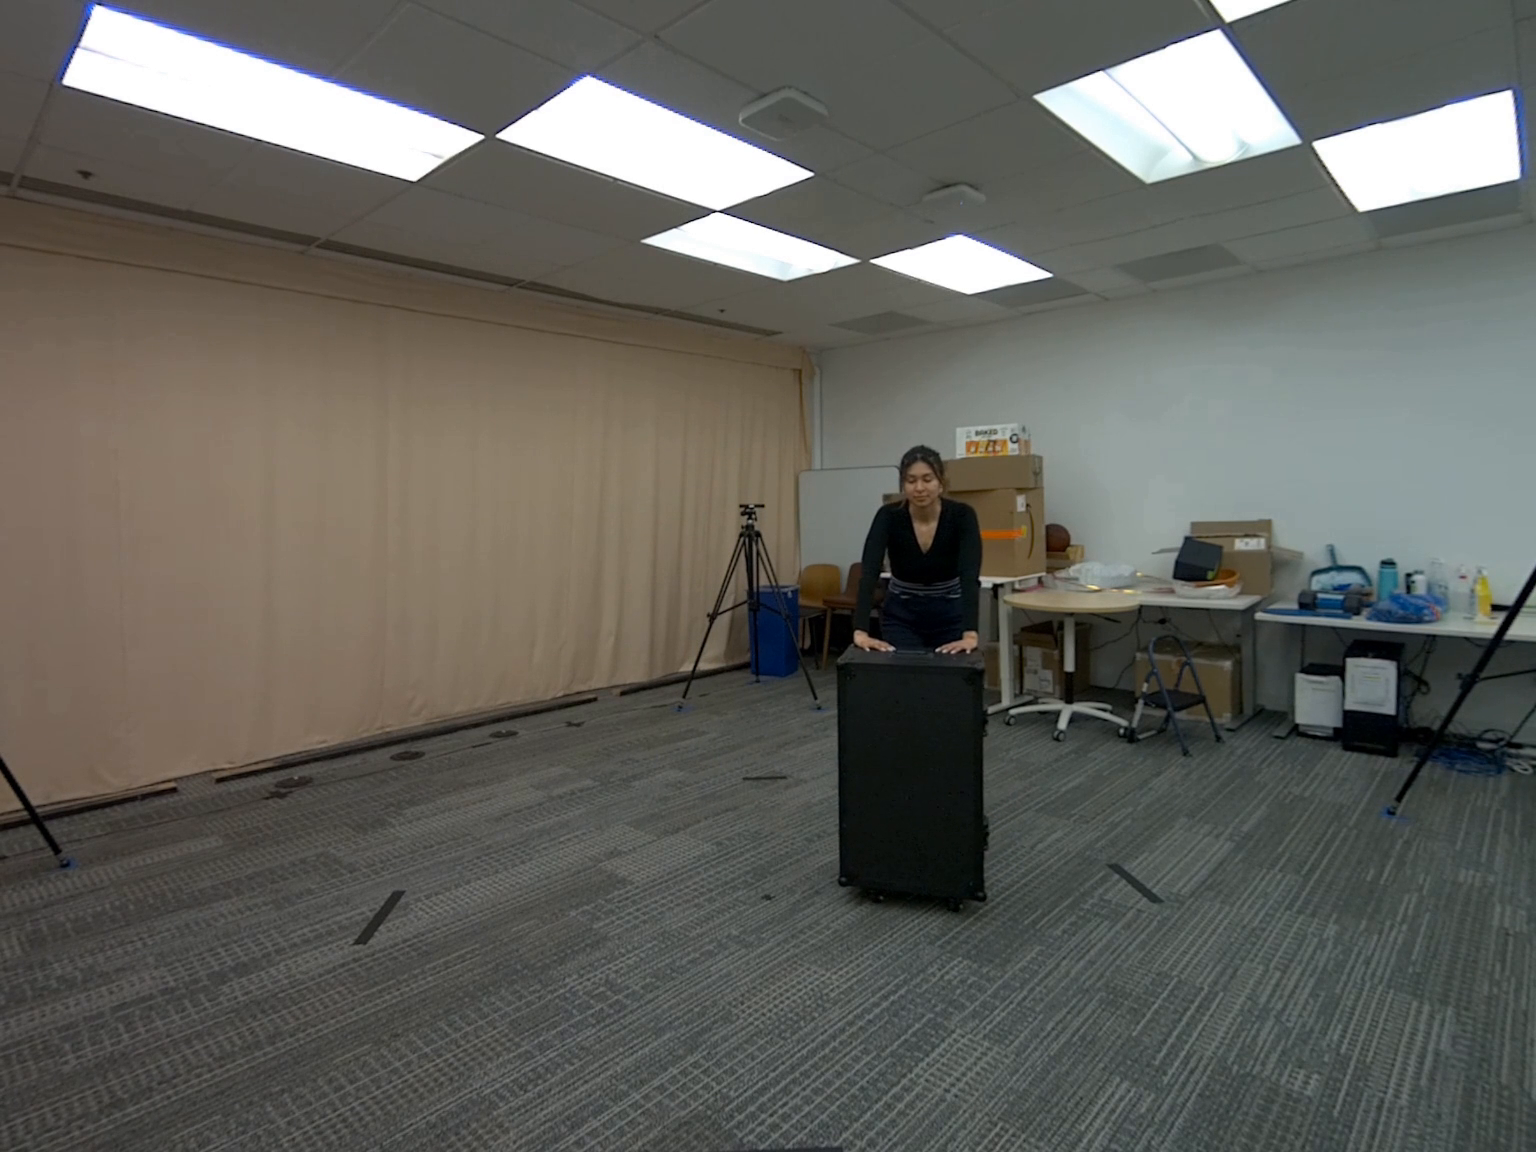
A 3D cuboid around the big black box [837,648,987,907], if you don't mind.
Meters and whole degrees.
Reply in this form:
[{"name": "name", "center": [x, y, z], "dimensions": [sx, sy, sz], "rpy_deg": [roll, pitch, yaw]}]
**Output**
[{"name": "big black box", "center": [0.515, 0.705, 2.999], "dimensions": [0.531, 0.860, 0.390], "rpy_deg": [0, 2, 17]}]
